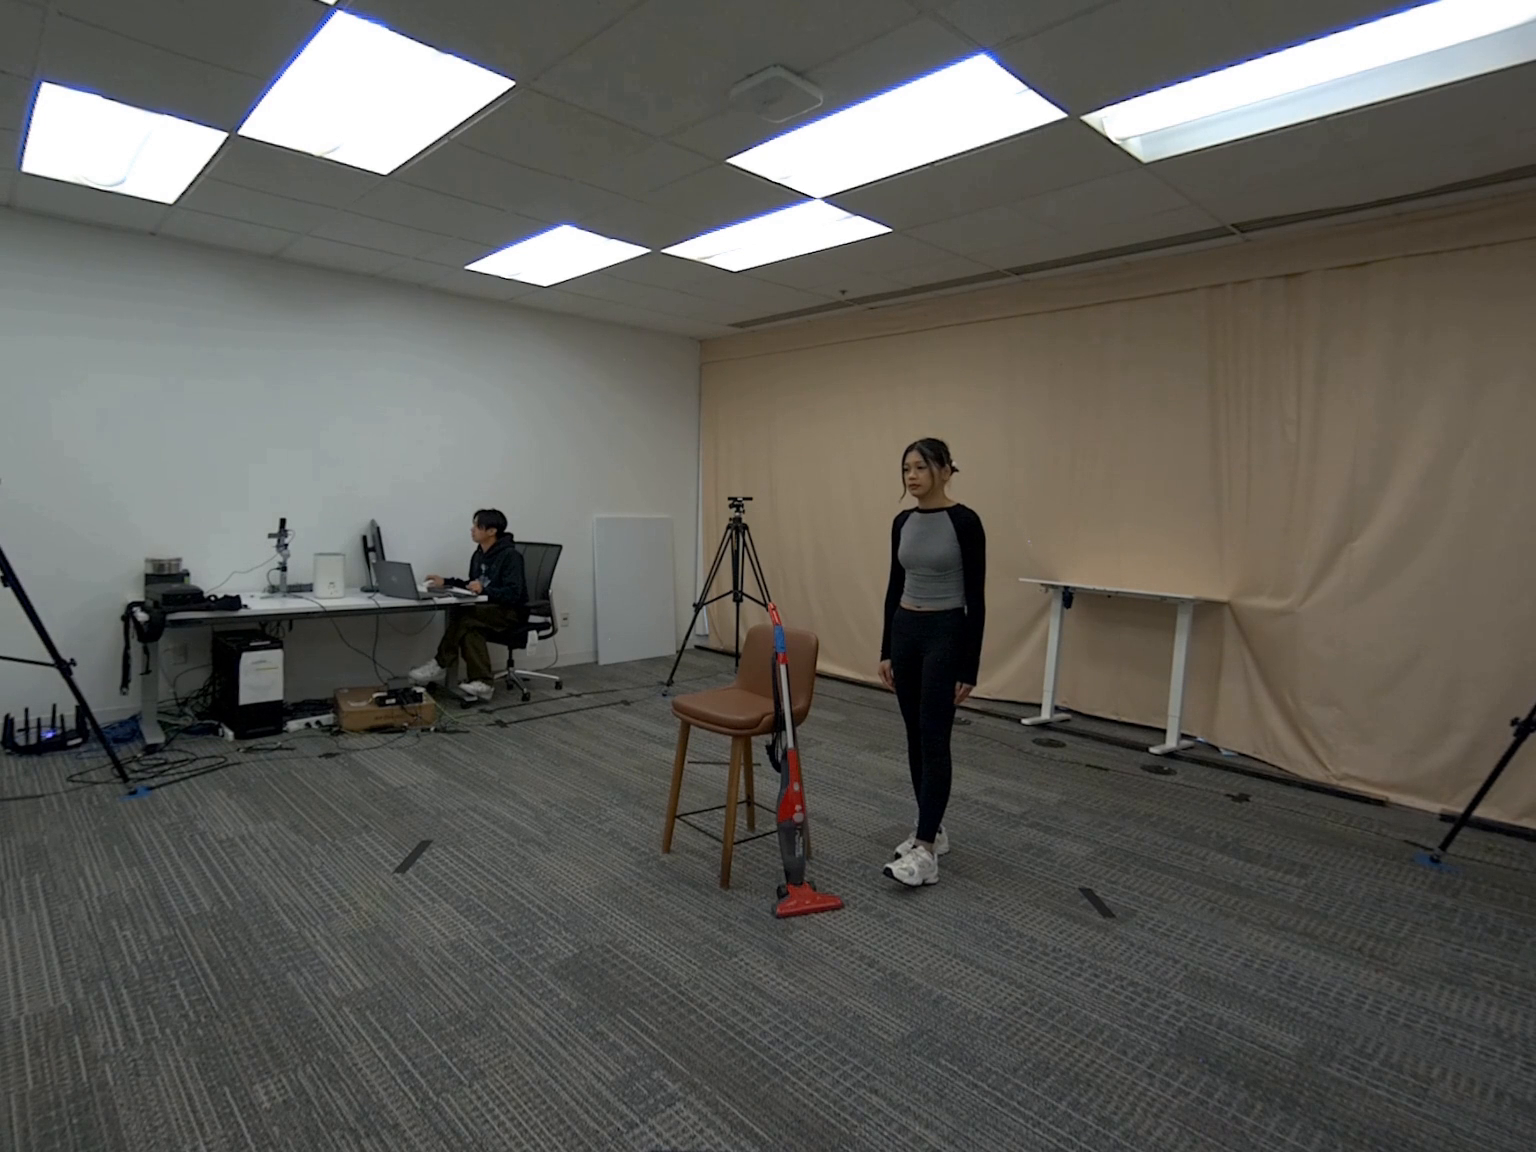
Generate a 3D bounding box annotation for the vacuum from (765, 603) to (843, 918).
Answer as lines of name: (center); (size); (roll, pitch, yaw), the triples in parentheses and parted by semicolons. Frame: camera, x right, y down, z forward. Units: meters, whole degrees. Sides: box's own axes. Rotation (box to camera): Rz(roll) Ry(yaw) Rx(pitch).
vacuum: (0.059, 0.617, 3.035); (0.248, 1.062, 0.145); (1, -17, -24)
